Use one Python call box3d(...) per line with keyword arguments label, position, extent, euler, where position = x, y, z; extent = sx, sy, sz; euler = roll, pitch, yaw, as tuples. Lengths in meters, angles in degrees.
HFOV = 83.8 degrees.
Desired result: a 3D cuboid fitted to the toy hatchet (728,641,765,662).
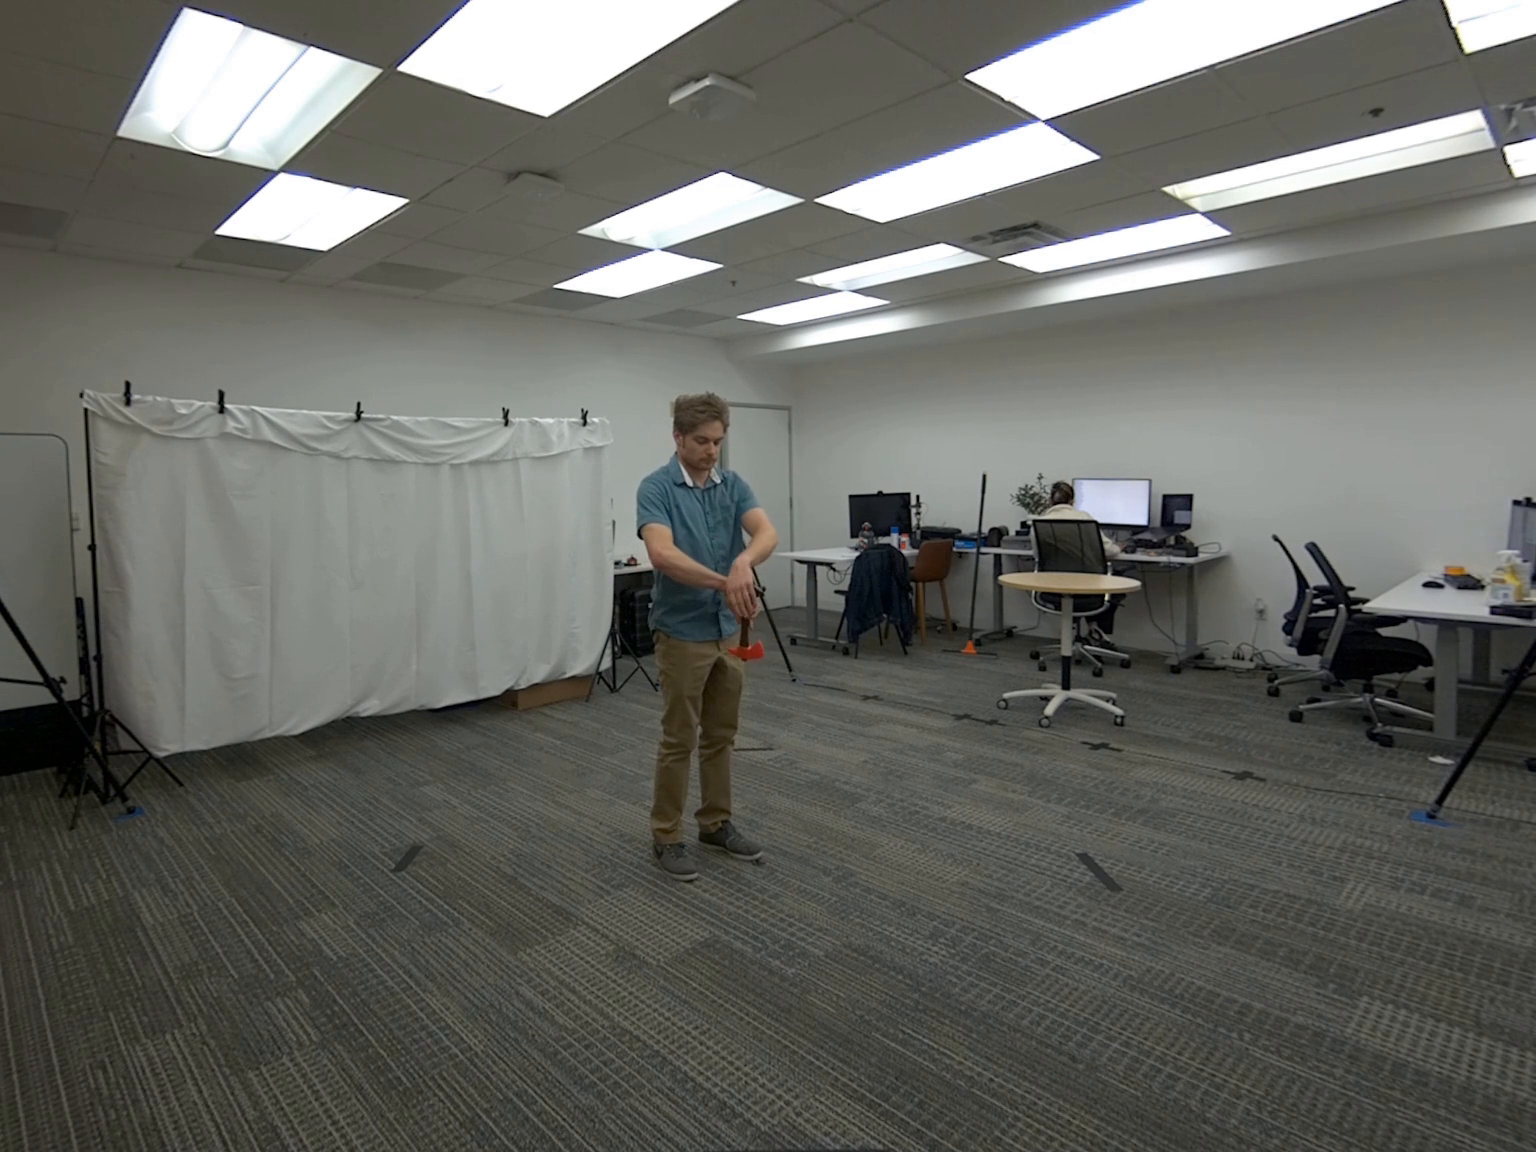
box3d(label="toy hatchet", position=(-0.045, 0.216, 2.960), extent=(0.134, 0.029, 0.270), euler=(11, 31, 20))
